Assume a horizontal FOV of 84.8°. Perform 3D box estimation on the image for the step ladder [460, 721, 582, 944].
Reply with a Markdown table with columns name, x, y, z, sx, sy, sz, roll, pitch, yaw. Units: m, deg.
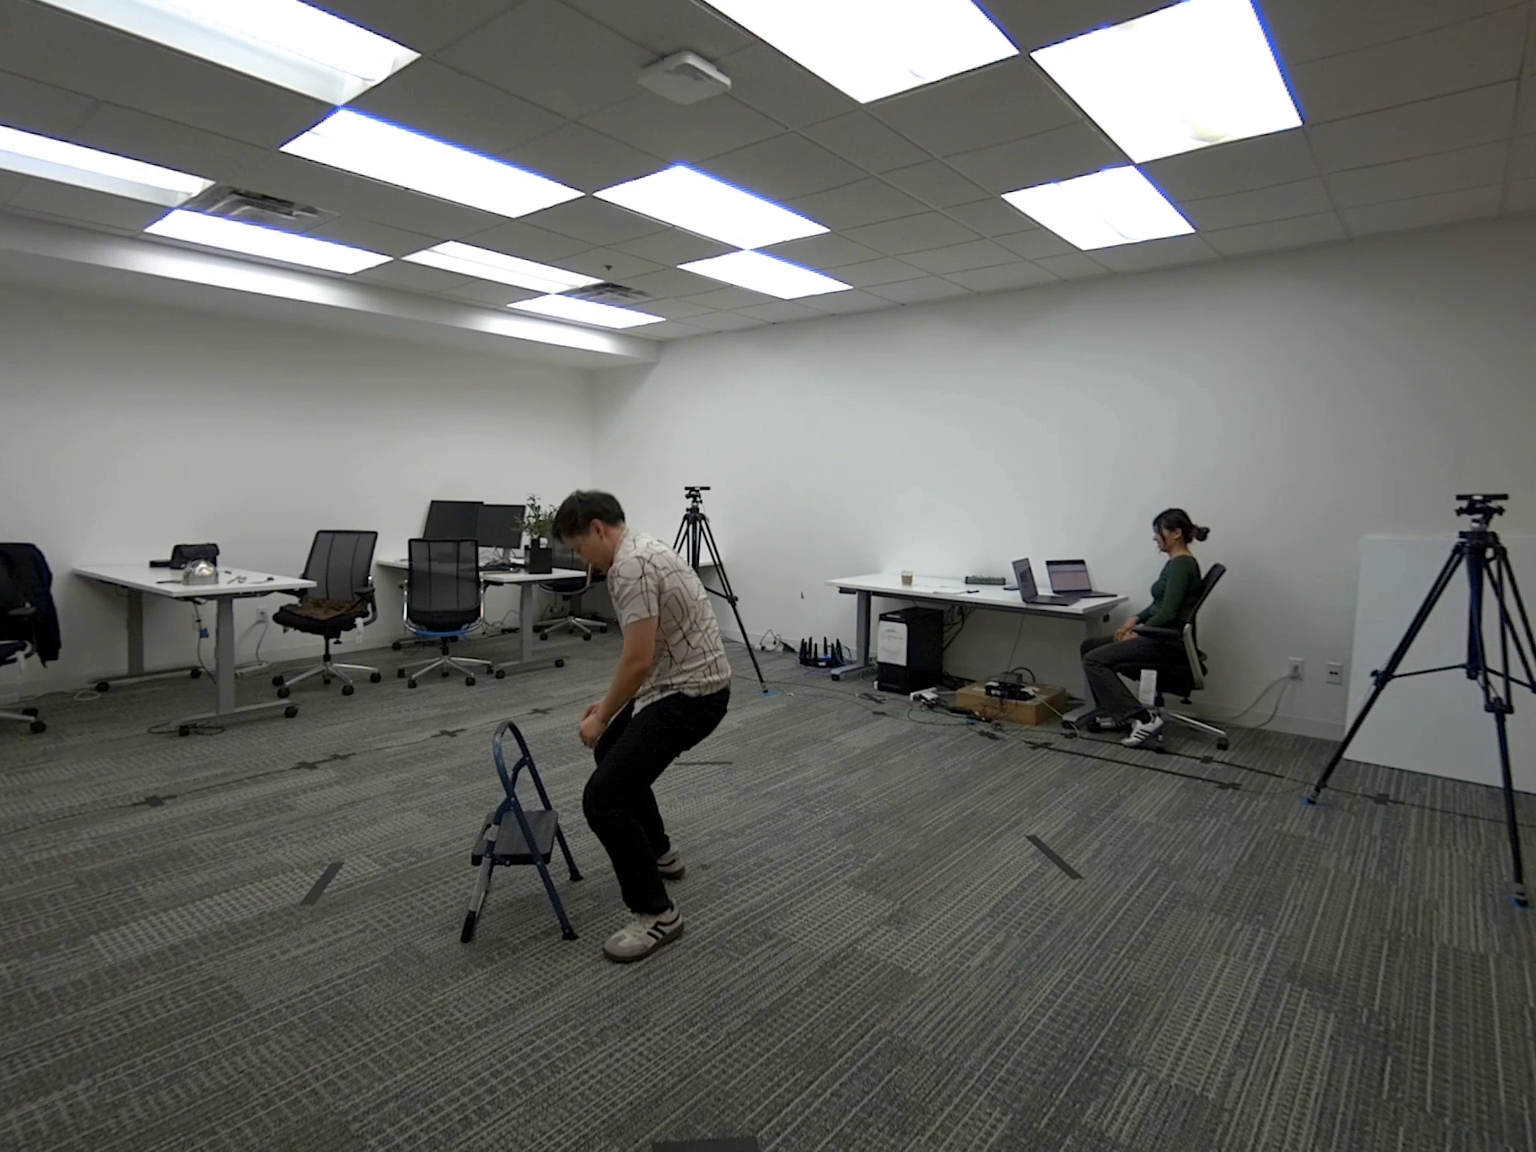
| name | x | y | z | sx | sy | sz | roll | pitch | yaw |
| --- | --- | --- | --- | --- | --- | --- | --- | --- | --- |
| step ladder | -0.806 | 0.789 | 2.774 | 0.346 | 0.604 | 0.436 | 0 | 4 | -10 |
